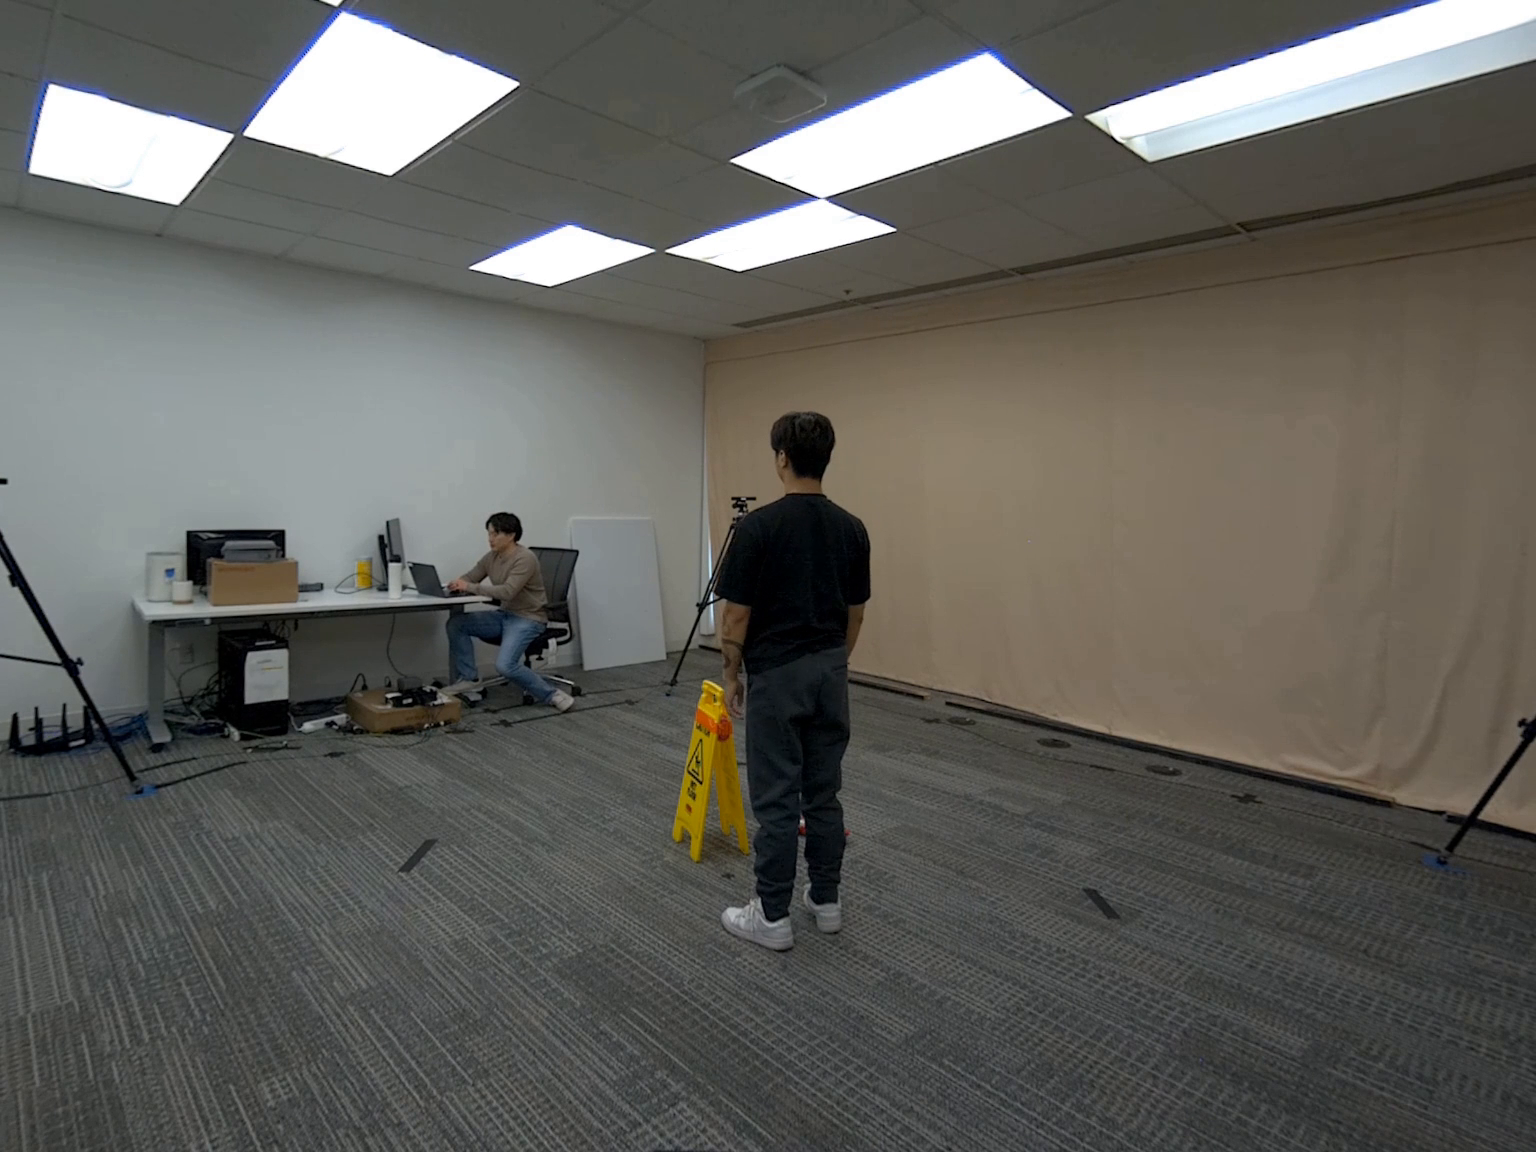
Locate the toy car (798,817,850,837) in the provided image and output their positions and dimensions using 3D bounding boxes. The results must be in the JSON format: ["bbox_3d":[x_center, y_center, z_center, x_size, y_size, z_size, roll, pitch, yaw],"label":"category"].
[{"bbox_3d":[0.220,1.057,3.473,0.259,0.083,0.127,-9,-6,44],"label":"toy car"}]
